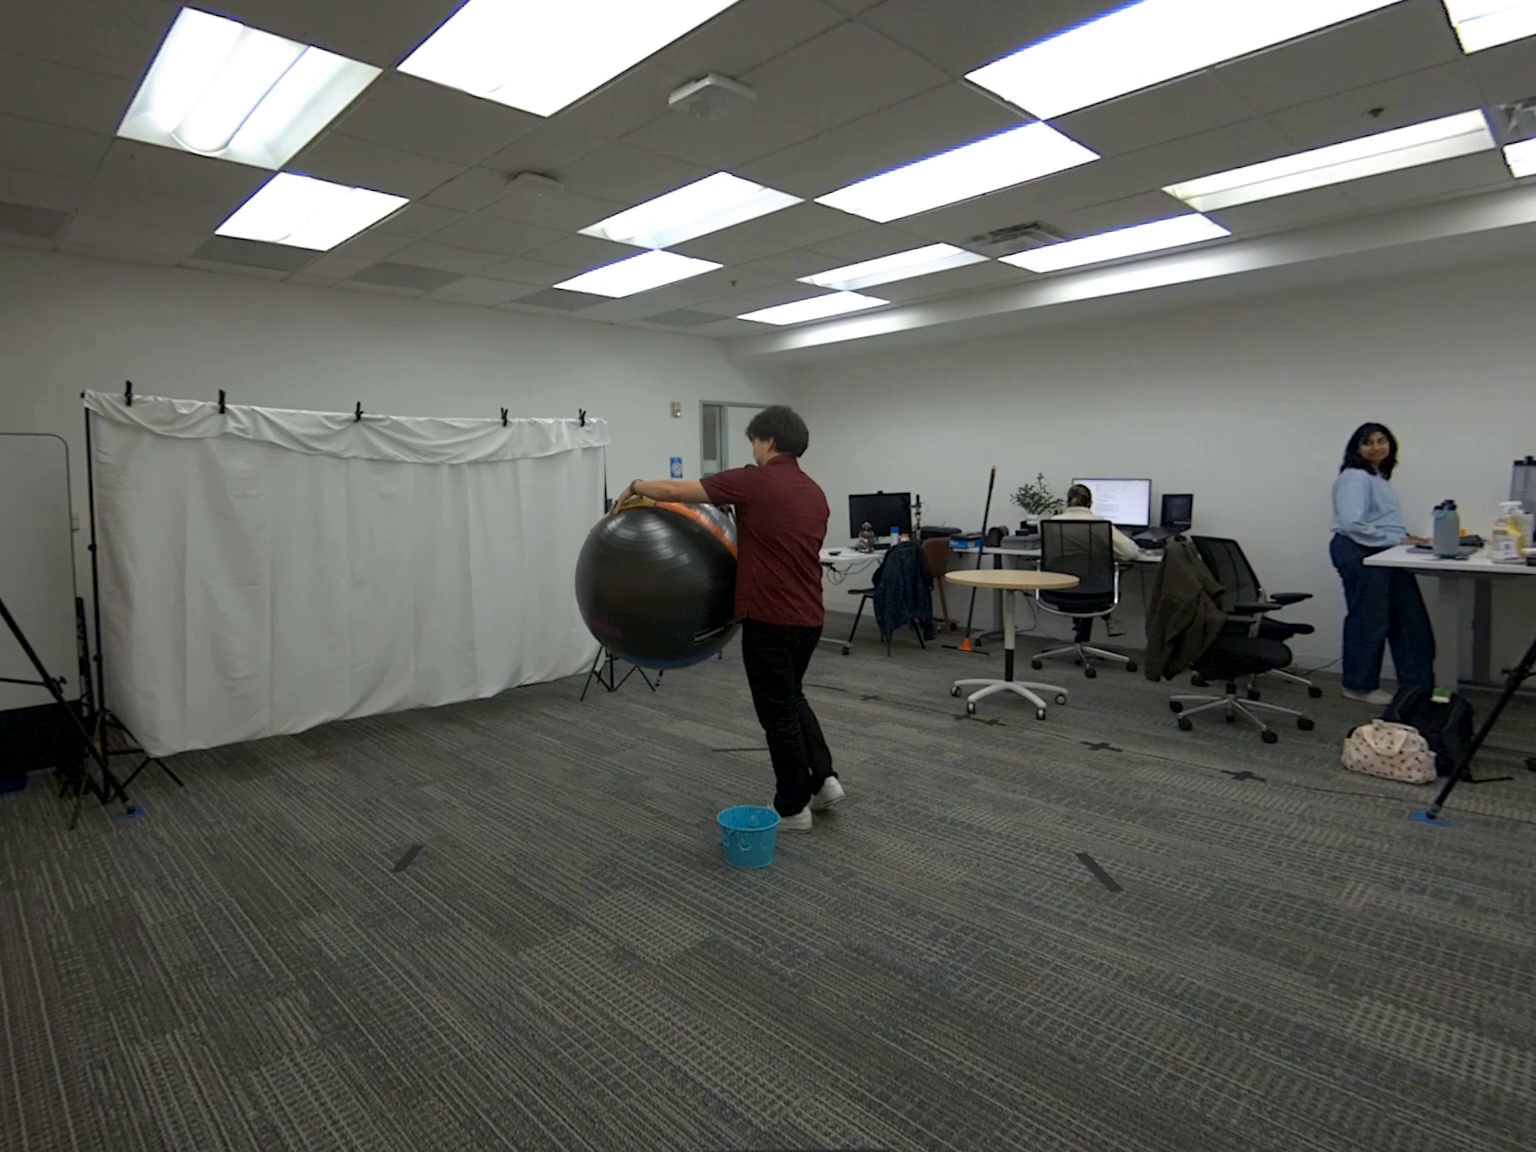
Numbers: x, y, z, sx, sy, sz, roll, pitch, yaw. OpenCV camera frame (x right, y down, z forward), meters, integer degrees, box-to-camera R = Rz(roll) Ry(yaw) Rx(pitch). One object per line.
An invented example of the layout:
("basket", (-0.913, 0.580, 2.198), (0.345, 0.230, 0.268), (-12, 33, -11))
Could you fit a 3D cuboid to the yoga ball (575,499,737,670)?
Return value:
("yoga ball", (-0.440, 0.021, 3.664), (0.757, 0.755, 0.762), (-1, 5, -2))
